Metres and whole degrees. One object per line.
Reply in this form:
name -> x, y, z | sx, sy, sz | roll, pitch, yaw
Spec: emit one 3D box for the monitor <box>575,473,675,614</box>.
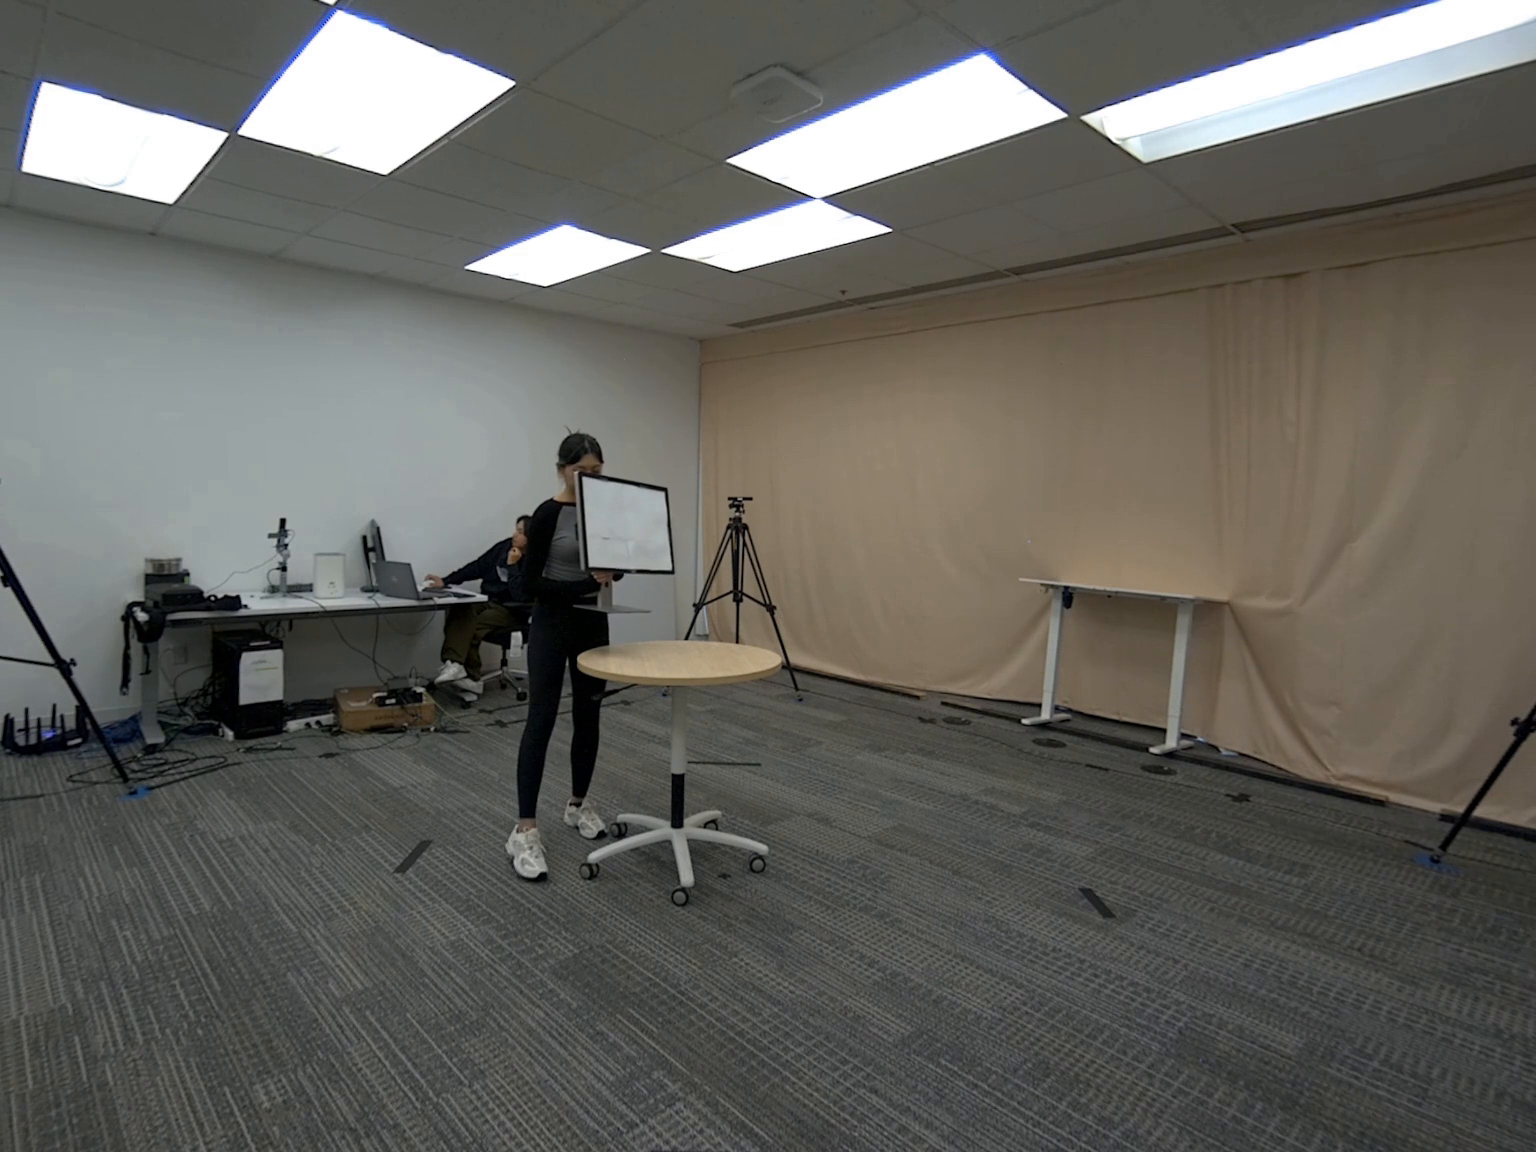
monitor -> -0.588, -0.113, 3.244 | 0.191, 0.522, 0.528 | 7, 1, 27
